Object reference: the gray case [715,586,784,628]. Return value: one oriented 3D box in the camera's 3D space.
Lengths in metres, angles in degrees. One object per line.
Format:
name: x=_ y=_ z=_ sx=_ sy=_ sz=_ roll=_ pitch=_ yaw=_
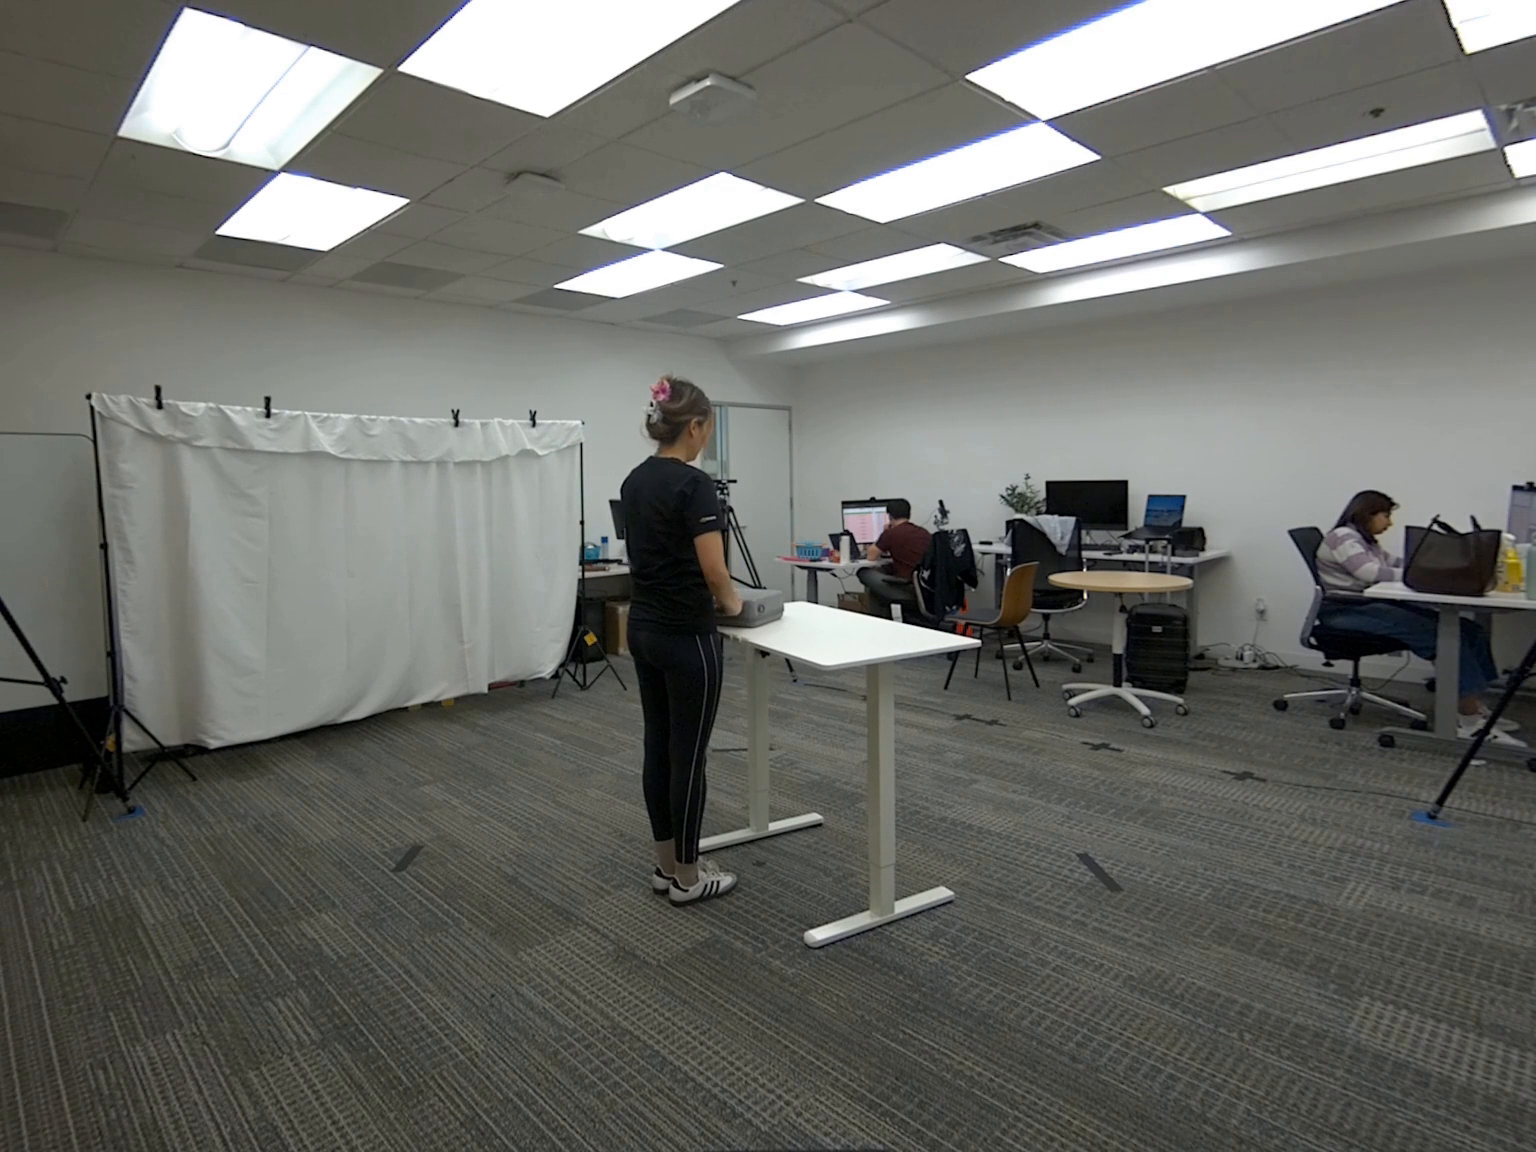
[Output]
gray case: x=-0.100 y=0.113 z=3.099 sx=0.263 sy=0.104 sz=0.255 roll=3 pitch=8 yaw=28
